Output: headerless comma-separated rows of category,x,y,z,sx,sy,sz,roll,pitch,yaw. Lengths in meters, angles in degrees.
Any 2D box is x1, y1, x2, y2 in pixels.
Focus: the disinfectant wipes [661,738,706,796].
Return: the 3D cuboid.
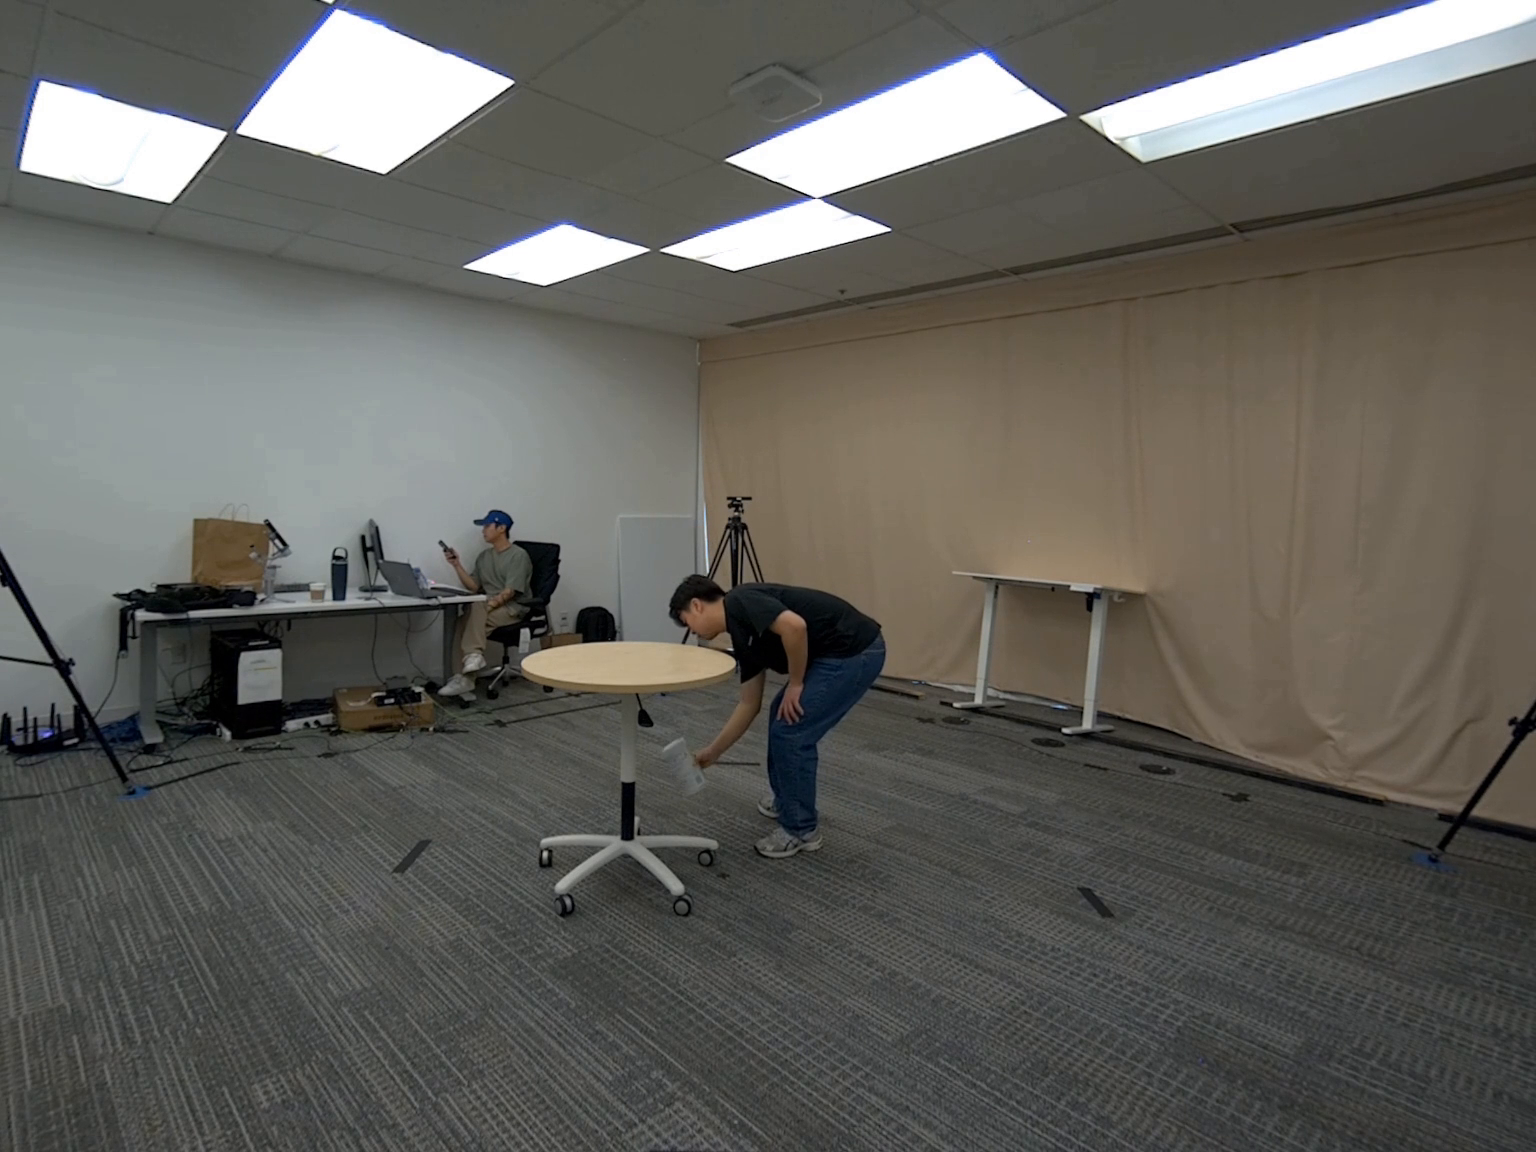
disinfectant wipes,-0.345,0.772,3.438,0.117,0.218,0.117,-29,-2,-2
